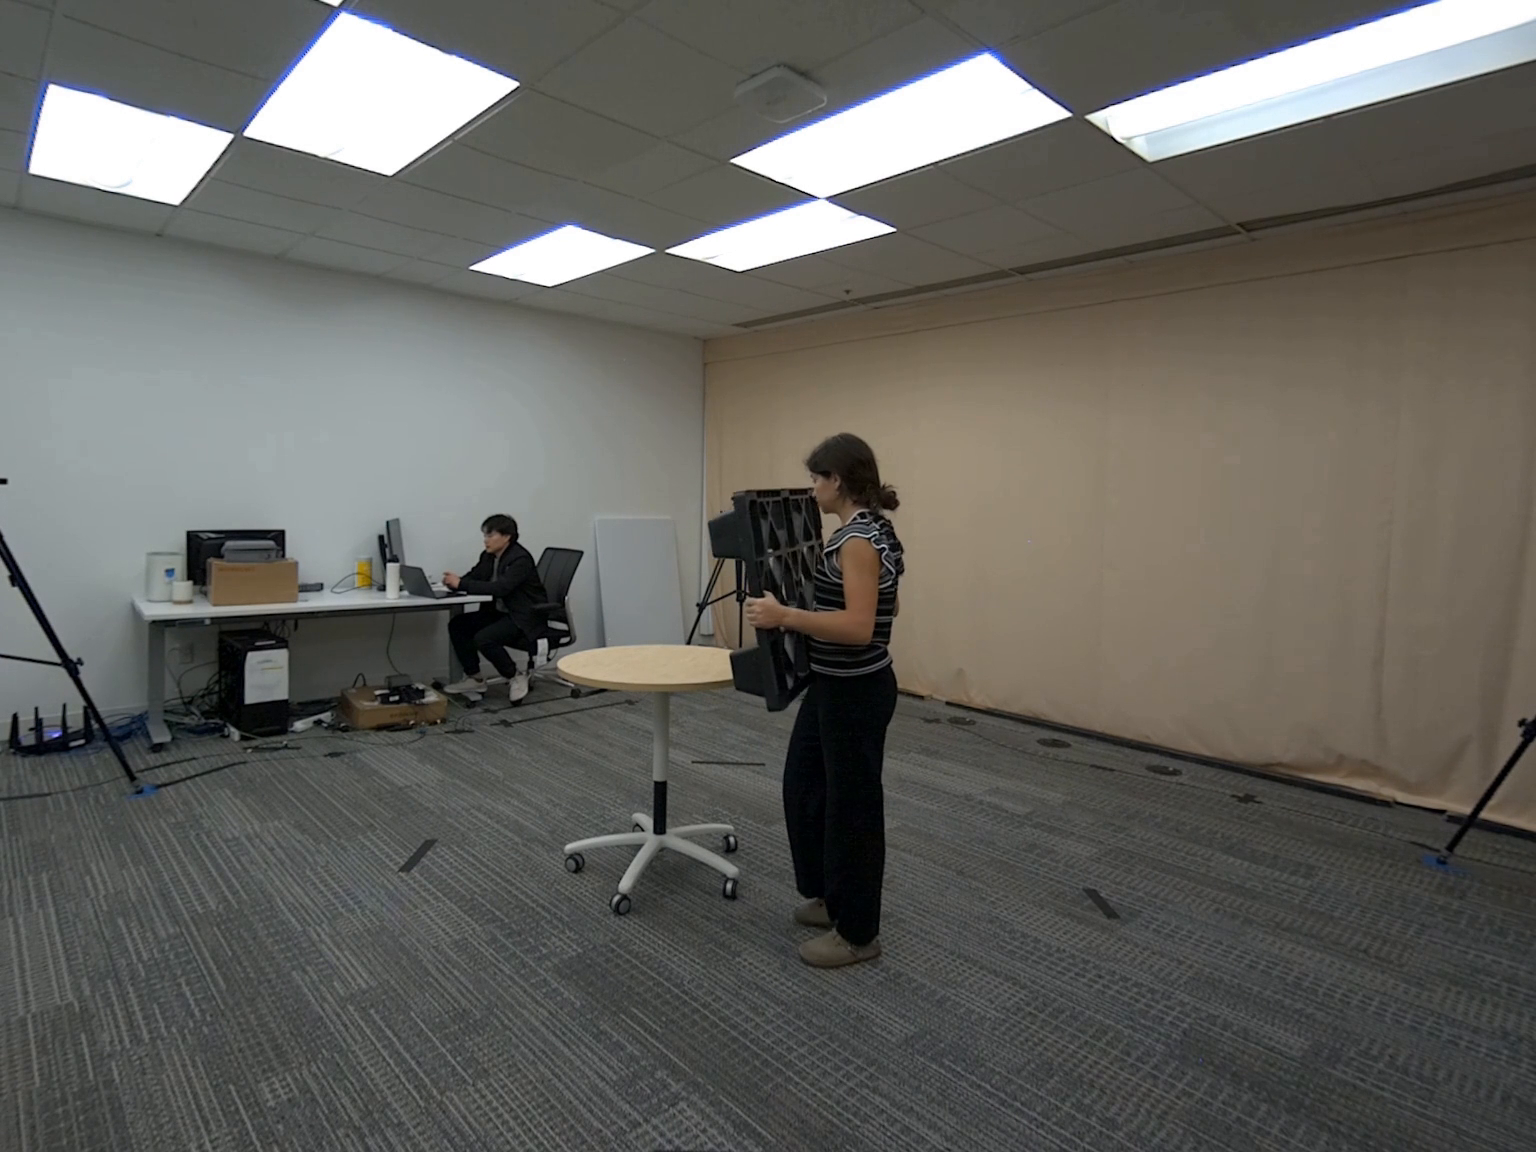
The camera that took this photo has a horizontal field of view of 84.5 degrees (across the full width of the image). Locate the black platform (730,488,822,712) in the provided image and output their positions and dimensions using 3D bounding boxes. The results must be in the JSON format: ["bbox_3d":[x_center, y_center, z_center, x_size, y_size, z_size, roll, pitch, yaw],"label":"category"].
[{"bbox_3d":[0.030,0.031,2.615,0.145,0.604,0.797,-8,3,17],"label":"black platform"}]
